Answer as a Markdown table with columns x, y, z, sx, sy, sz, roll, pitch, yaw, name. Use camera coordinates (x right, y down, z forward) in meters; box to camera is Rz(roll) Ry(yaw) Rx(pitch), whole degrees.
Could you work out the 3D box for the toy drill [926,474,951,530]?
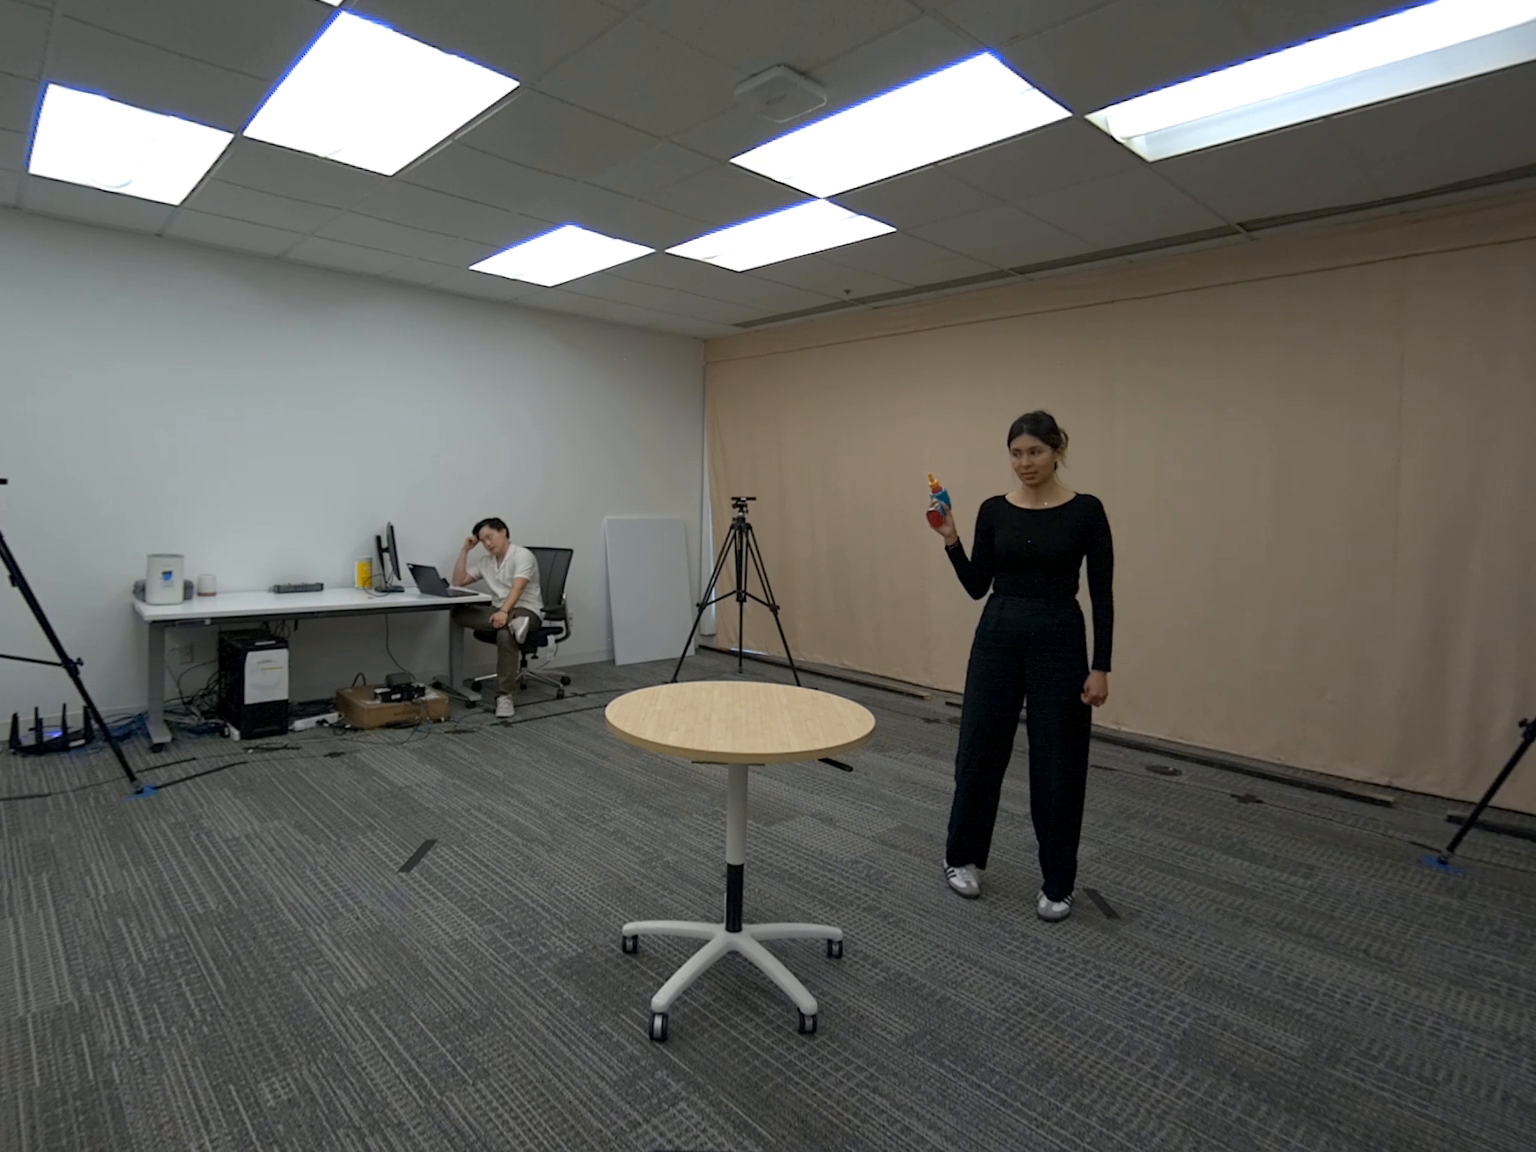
| x | y | z | sx | sy | sz | roll | pitch | yaw | name |
| --- | --- | --- | --- | --- | --- | --- | --- | --- | --- |
| 0.602 | -0.269 | 2.957 | 0.062 | 0.167 | 0.146 | -12 | 24 | 33 | toy drill |
